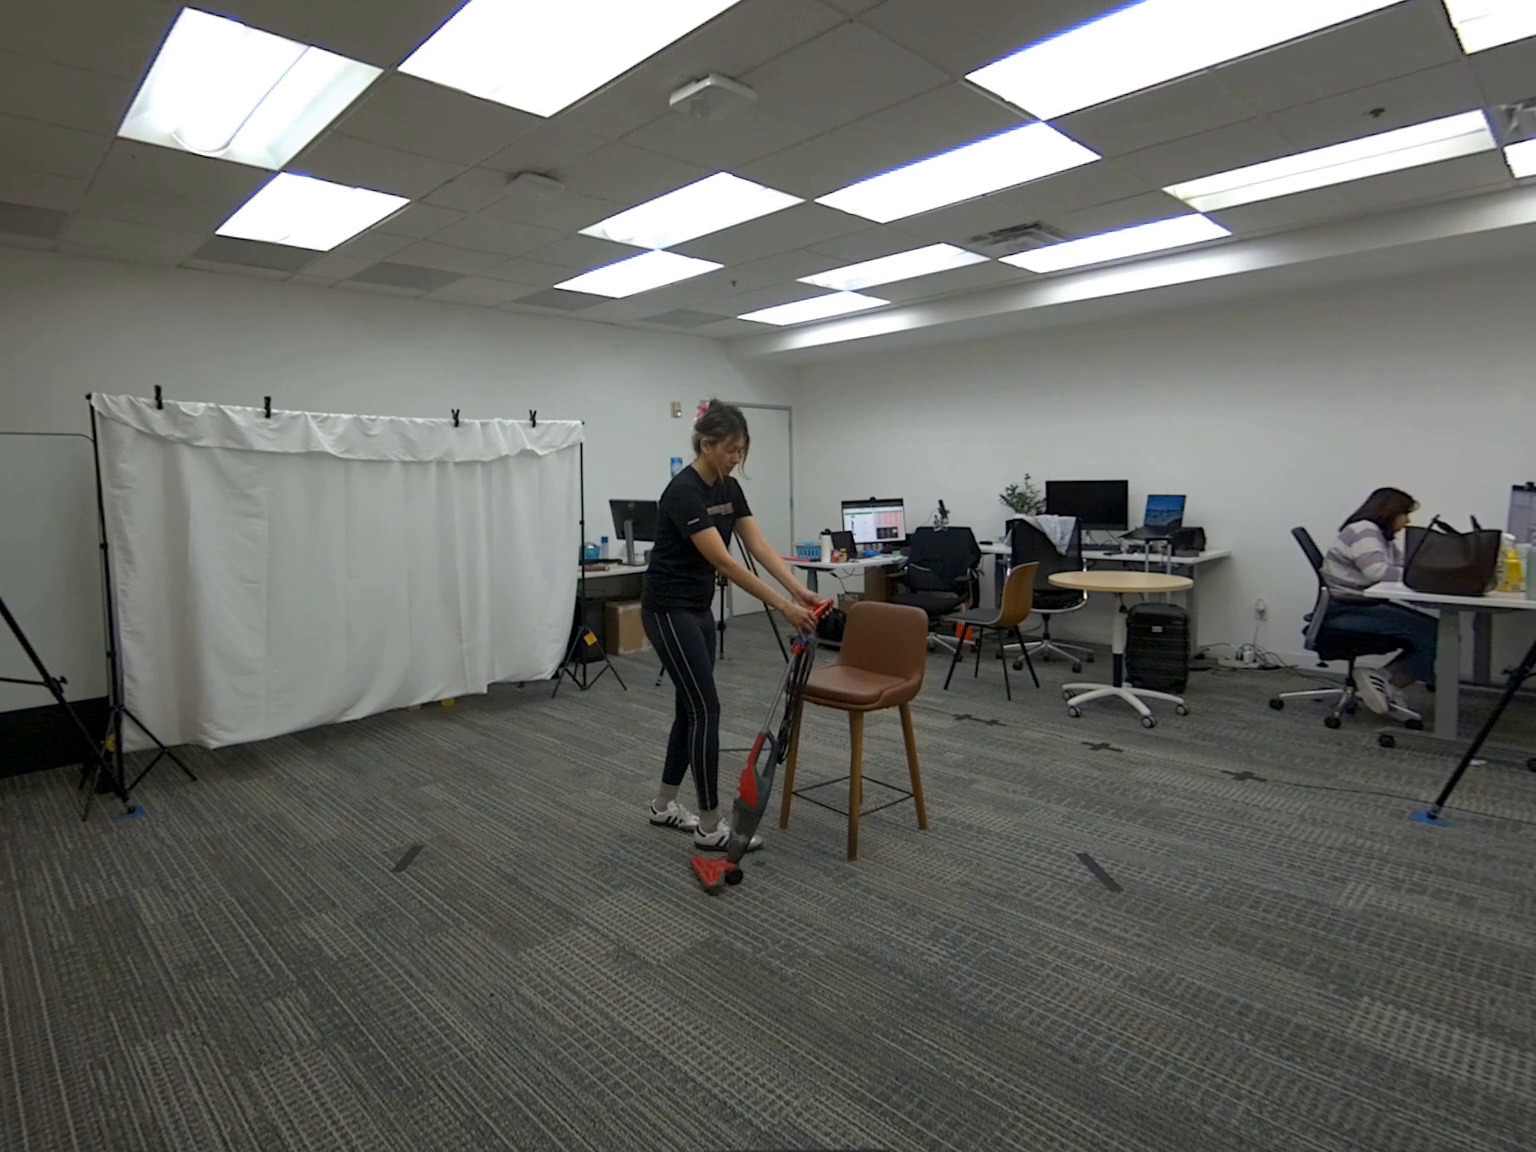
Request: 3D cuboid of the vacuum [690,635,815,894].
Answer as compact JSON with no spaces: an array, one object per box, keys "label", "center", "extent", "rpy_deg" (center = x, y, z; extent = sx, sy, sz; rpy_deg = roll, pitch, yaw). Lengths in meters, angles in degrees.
[{"label":"vacuum","center":[0.025,0.575,3.052],"extent":[0.140,1.053,0.259],"rpy_deg":[27,-9,-27]}]
